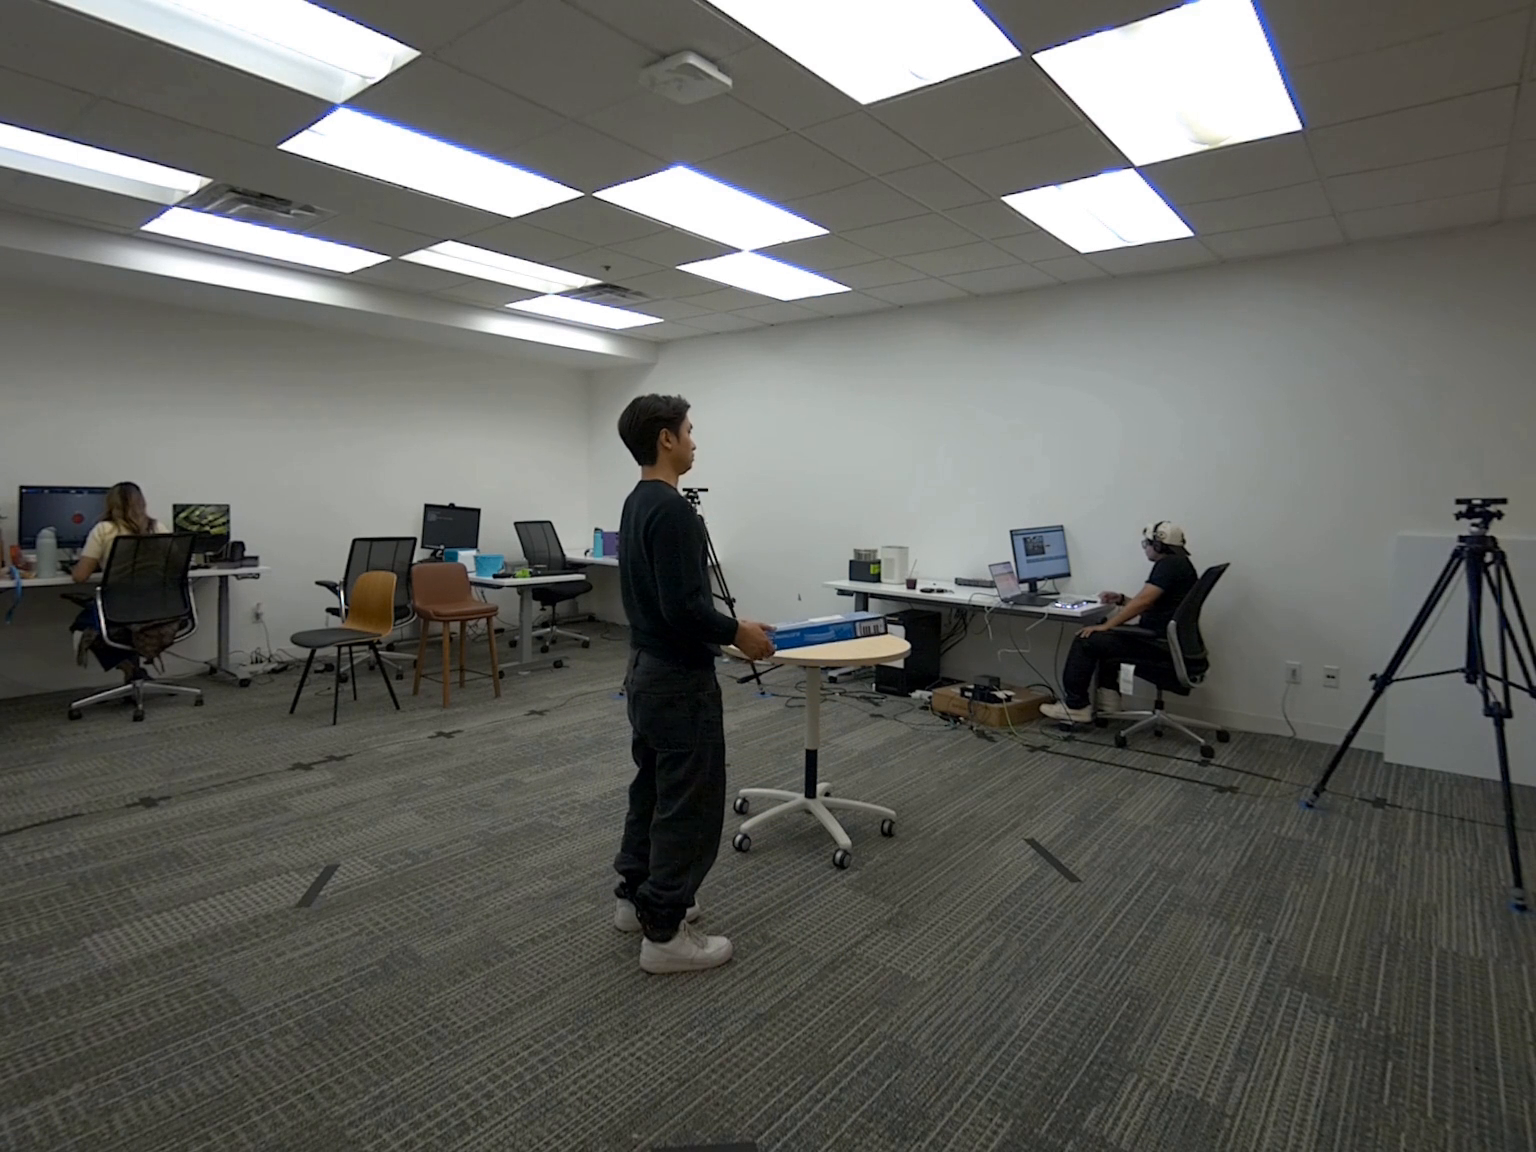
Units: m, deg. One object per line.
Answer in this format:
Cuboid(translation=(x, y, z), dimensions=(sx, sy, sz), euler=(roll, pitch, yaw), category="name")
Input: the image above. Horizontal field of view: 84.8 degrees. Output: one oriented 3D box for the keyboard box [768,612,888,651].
Cuboid(translation=(0.110, 0.168, 2.617), dimensions=(0.433, 0.059, 0.178), euler=(-4, 5, -8), category="keyboard box")
